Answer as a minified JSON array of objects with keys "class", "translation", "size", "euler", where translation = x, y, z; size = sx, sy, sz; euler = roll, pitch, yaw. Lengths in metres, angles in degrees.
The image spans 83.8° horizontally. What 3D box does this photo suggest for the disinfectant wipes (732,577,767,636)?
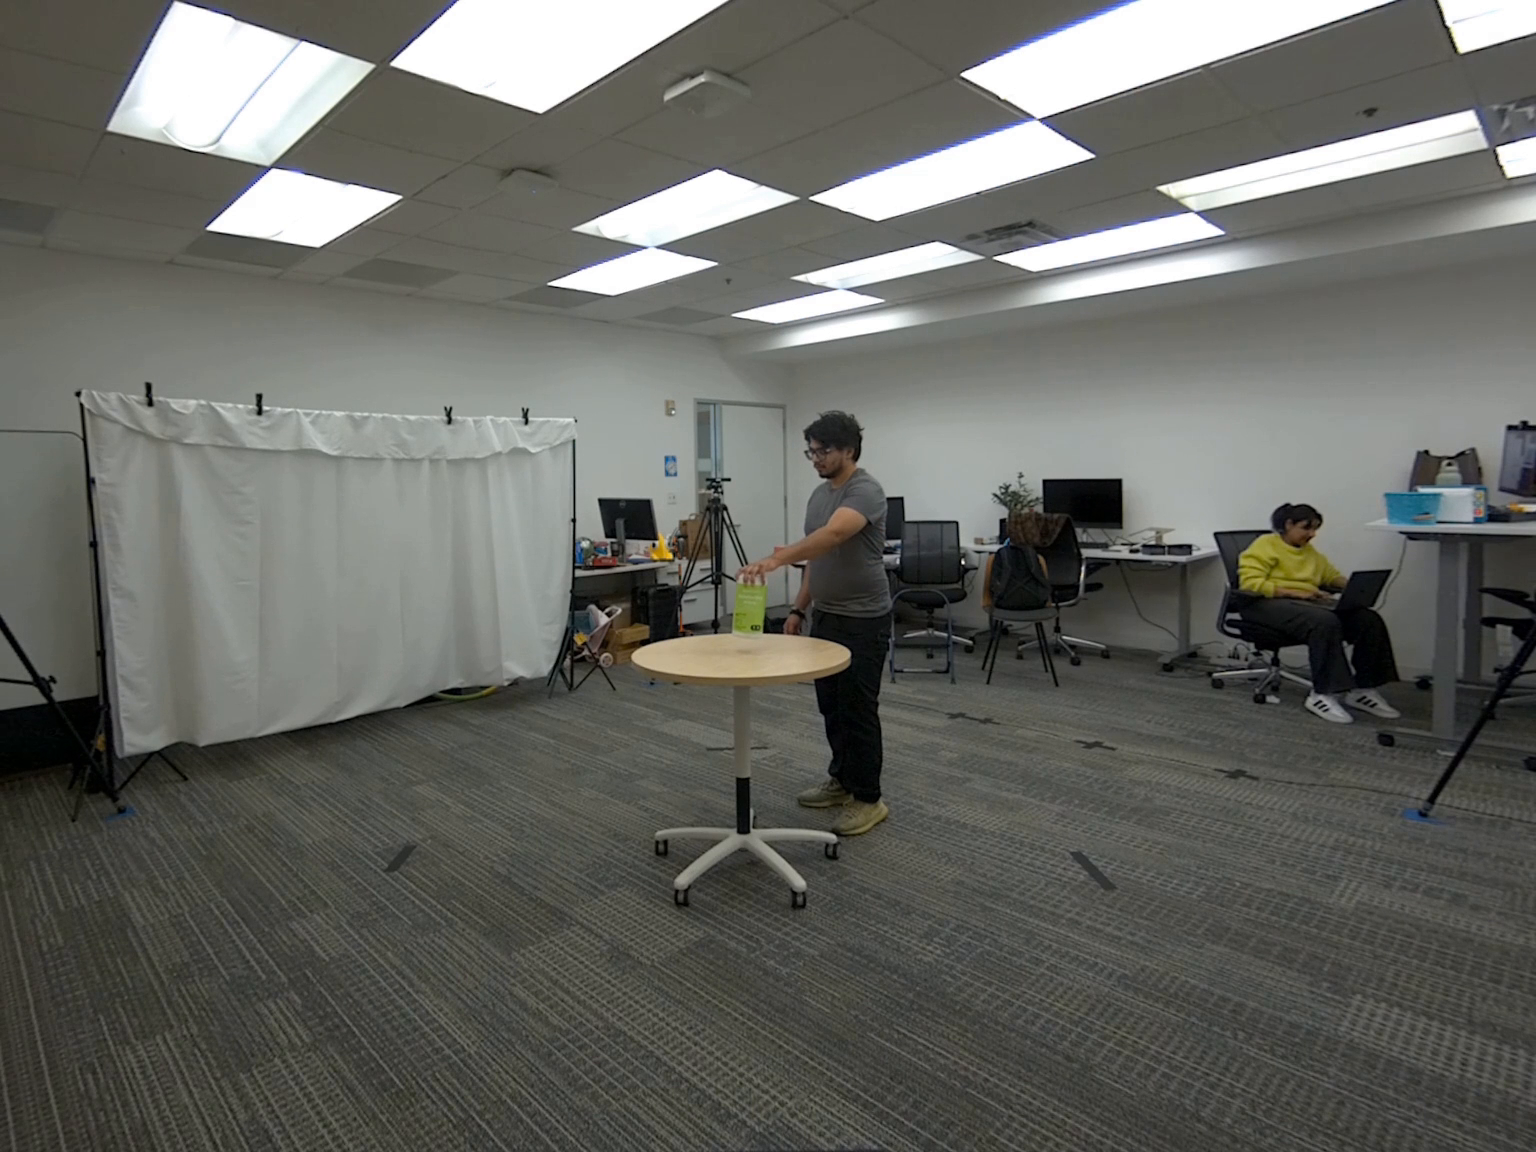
[{"class":"disinfectant wipes","translation":[-0.063,0.103,2.991],"size":[0.117,0.217,0.118],"euler":[4,2,-2]}]
